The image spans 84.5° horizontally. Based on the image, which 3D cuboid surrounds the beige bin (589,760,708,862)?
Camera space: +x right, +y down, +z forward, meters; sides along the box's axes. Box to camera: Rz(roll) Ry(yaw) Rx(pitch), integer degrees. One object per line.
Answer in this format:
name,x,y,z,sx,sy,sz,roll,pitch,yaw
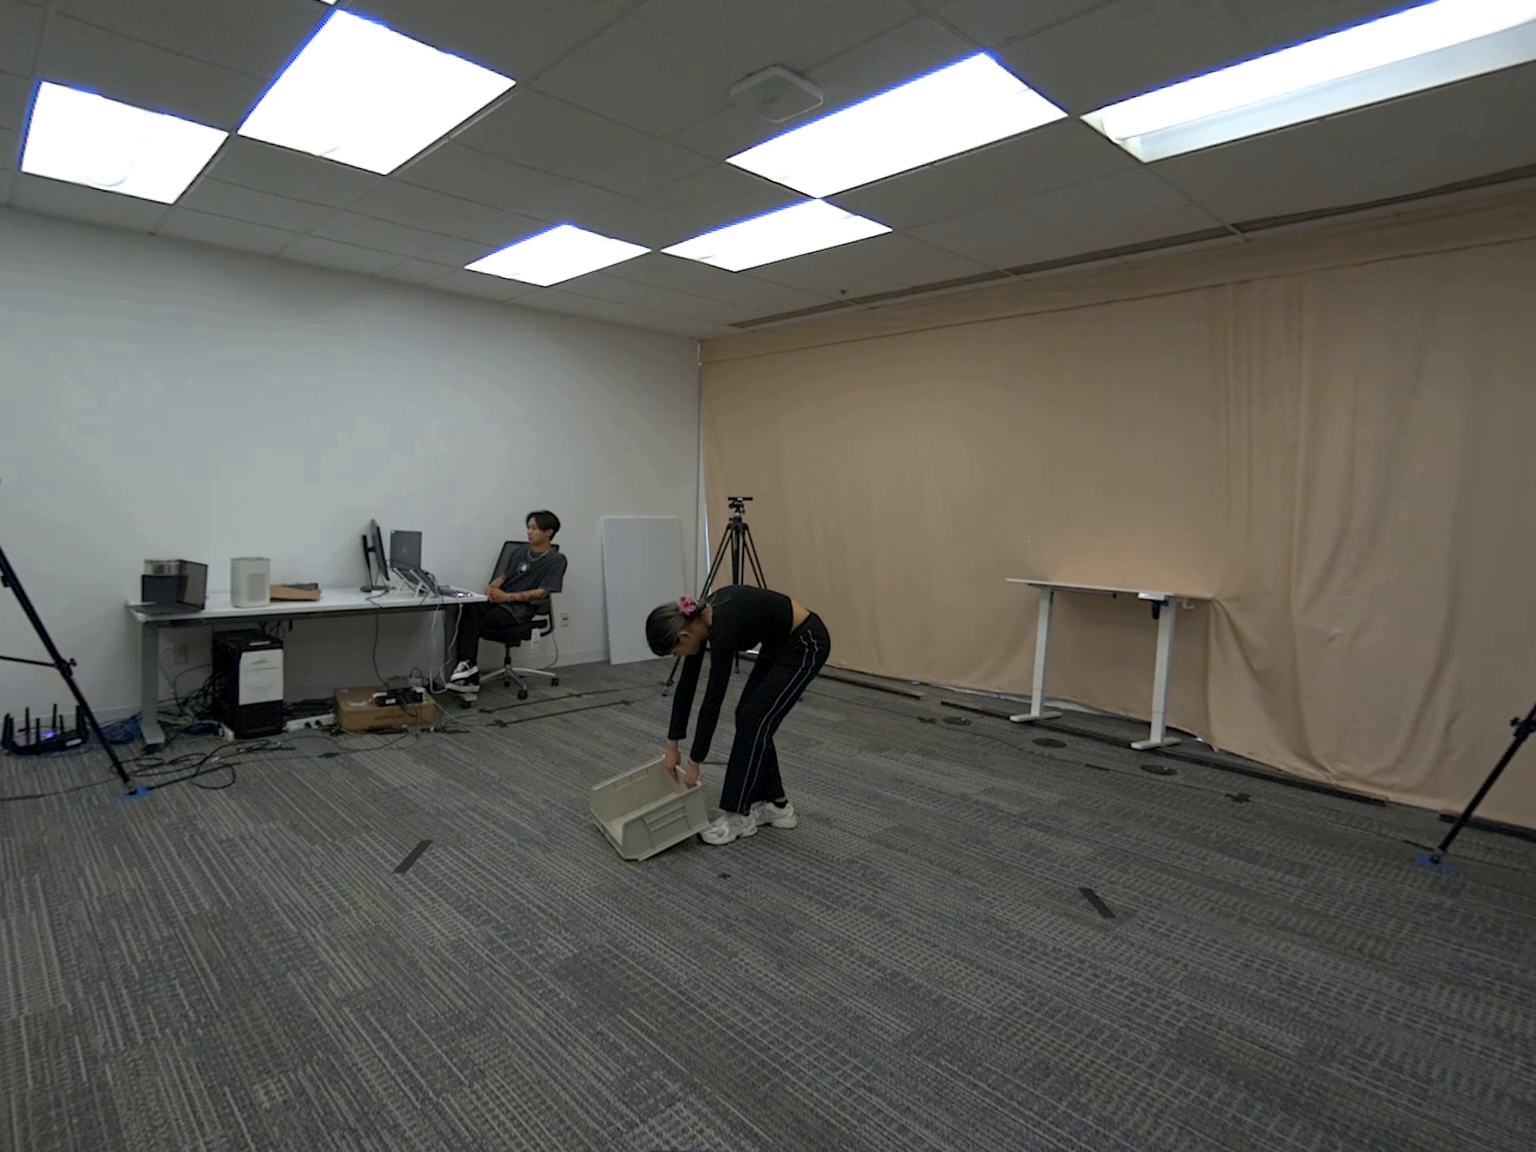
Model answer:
beige bin,-0.501,0.943,3.428,0.373,0.187,0.431,-19,13,-25
